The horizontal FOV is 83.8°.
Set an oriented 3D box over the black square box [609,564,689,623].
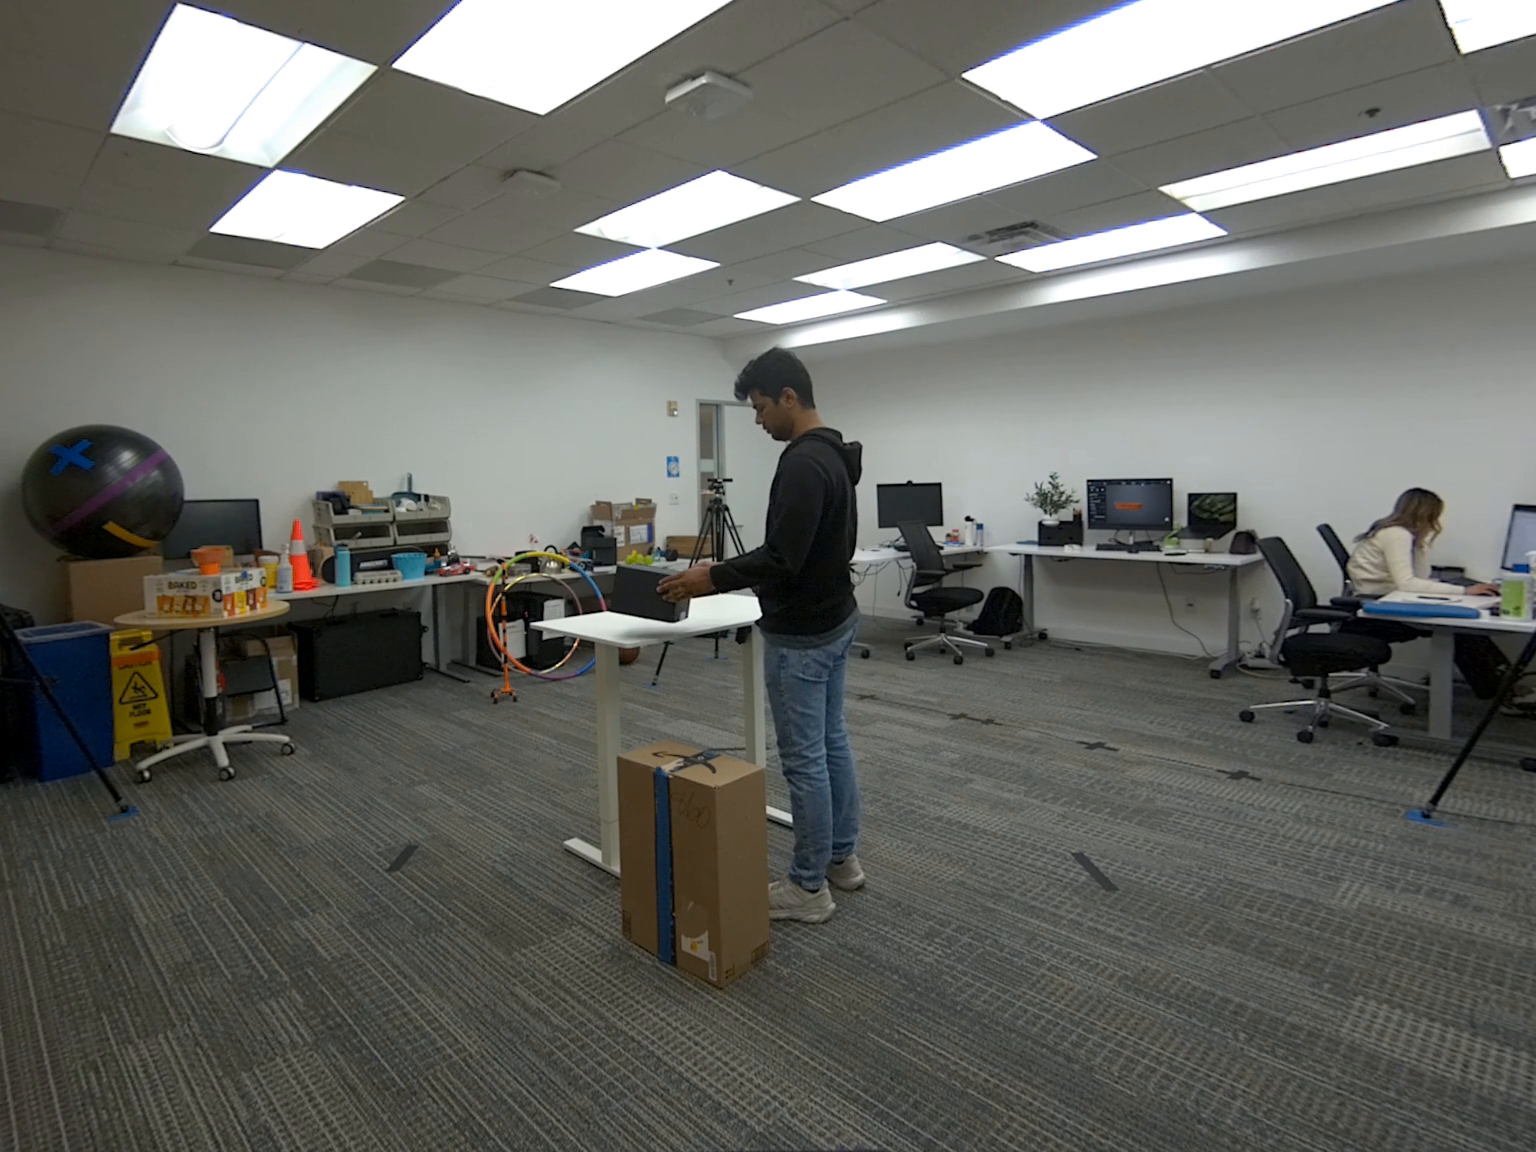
[{"bbox_3d":[-0.368,0.056,2.856,0.219,0.155,0.226,6,3,6],"label":"black square box"}]
